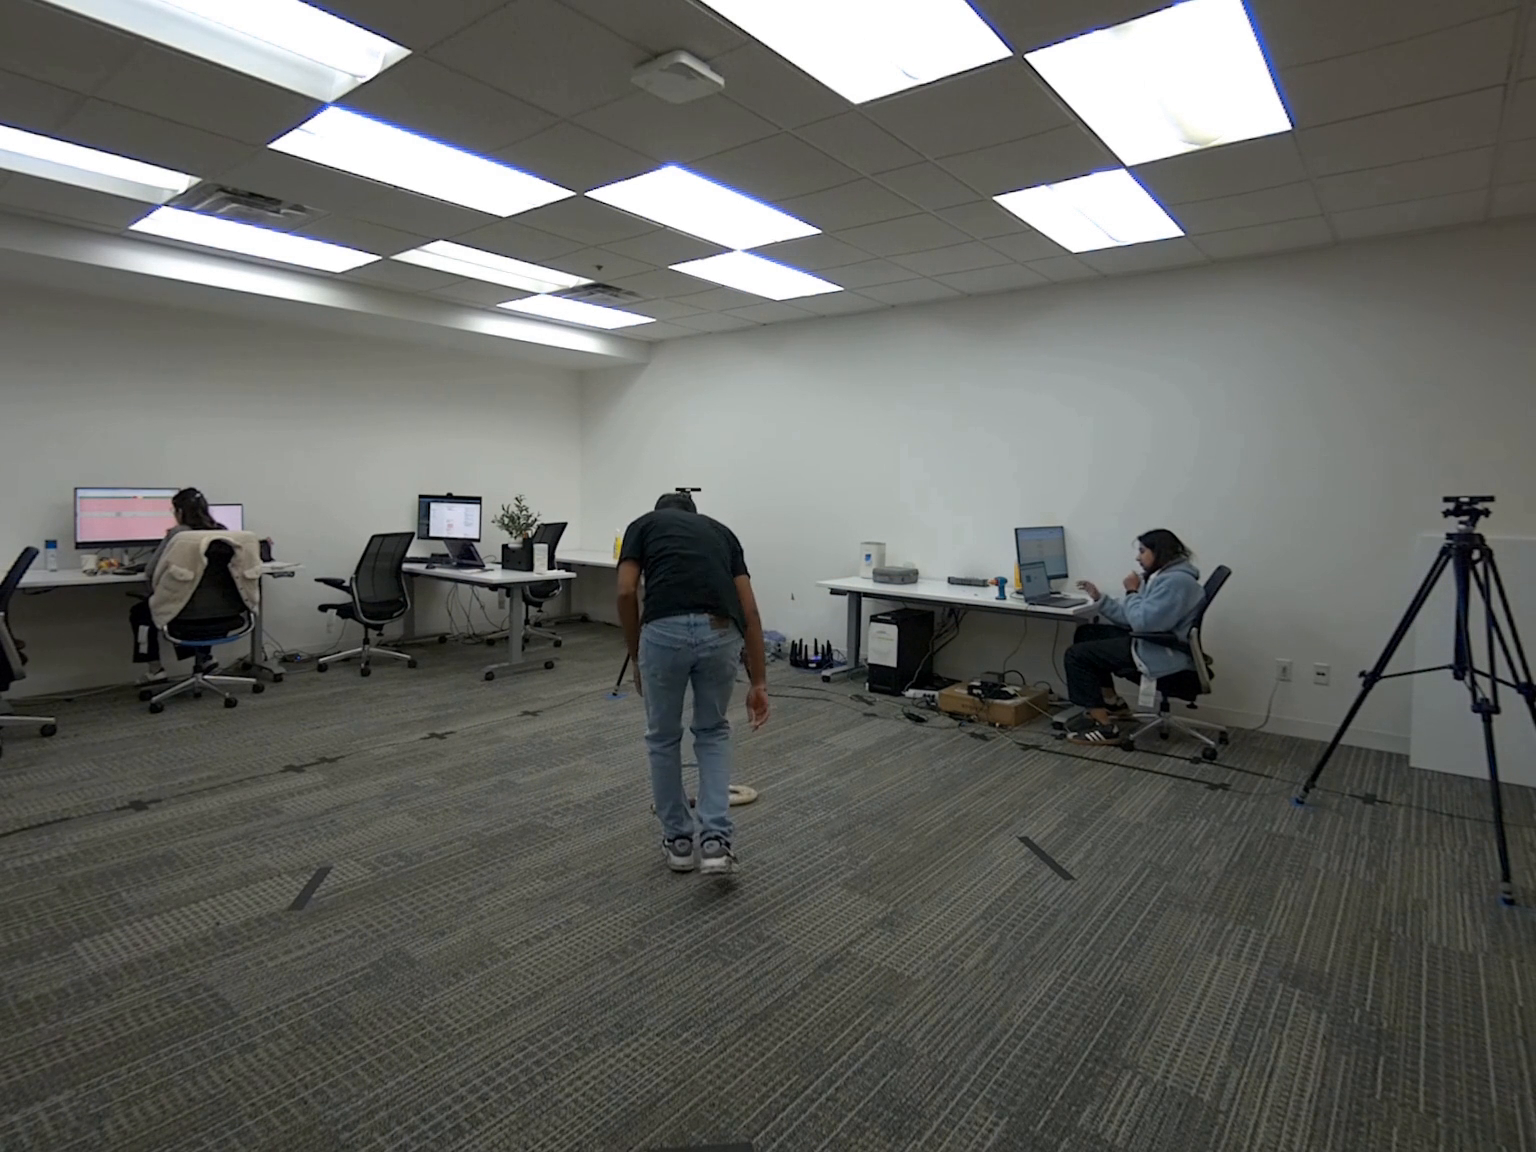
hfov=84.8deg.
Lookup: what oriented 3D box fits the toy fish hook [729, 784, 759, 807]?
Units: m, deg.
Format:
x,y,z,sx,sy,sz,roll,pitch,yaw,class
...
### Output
x,y,z,sx,sy,sz,roll,pitch,yaw,class
-0.302,0.981,3.782,0.495,0.048,0.229,-1,-2,-24,toy fish hook
